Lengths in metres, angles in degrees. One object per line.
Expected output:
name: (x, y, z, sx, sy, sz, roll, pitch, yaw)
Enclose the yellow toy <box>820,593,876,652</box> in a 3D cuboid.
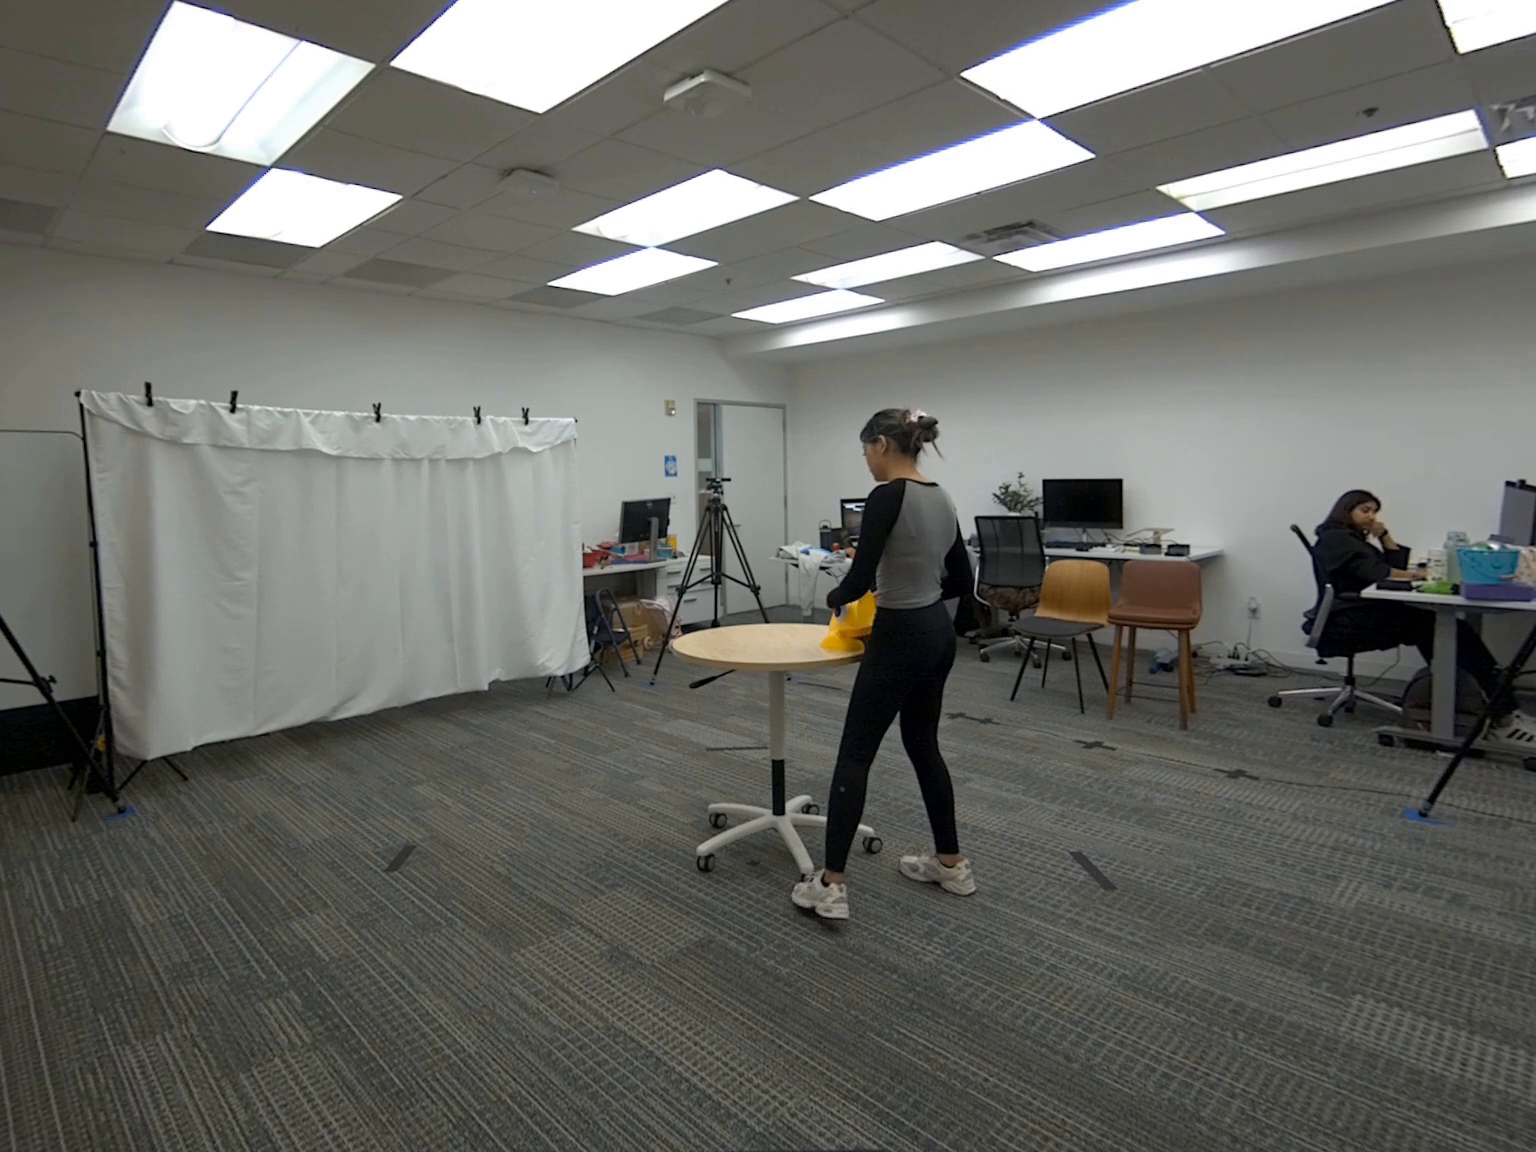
yellow toy: (0.299, 0.136, 3.040, 0.198, 0.230, 0.200, 1, 6, 38)
